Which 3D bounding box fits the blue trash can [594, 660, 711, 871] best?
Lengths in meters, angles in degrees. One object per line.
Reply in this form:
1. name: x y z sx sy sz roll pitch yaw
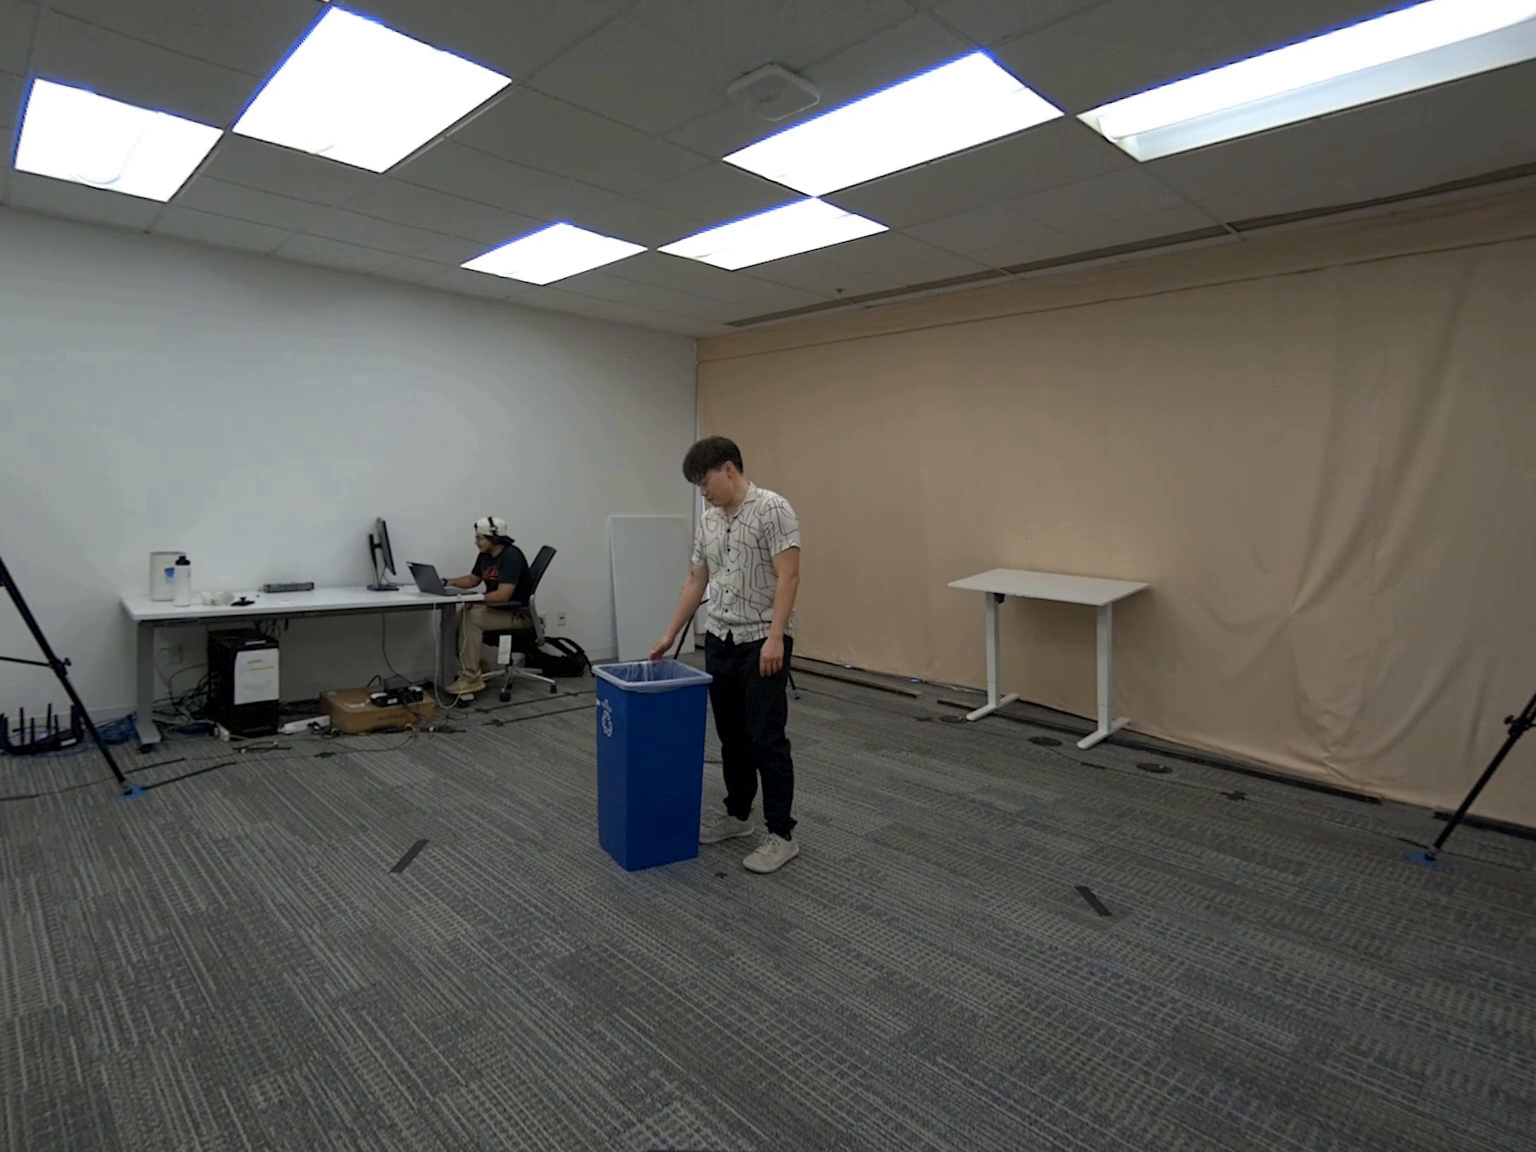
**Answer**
1. blue trash can: -0.466 0.724 3.278 0.370 0.712 0.383 -1 4 -32
